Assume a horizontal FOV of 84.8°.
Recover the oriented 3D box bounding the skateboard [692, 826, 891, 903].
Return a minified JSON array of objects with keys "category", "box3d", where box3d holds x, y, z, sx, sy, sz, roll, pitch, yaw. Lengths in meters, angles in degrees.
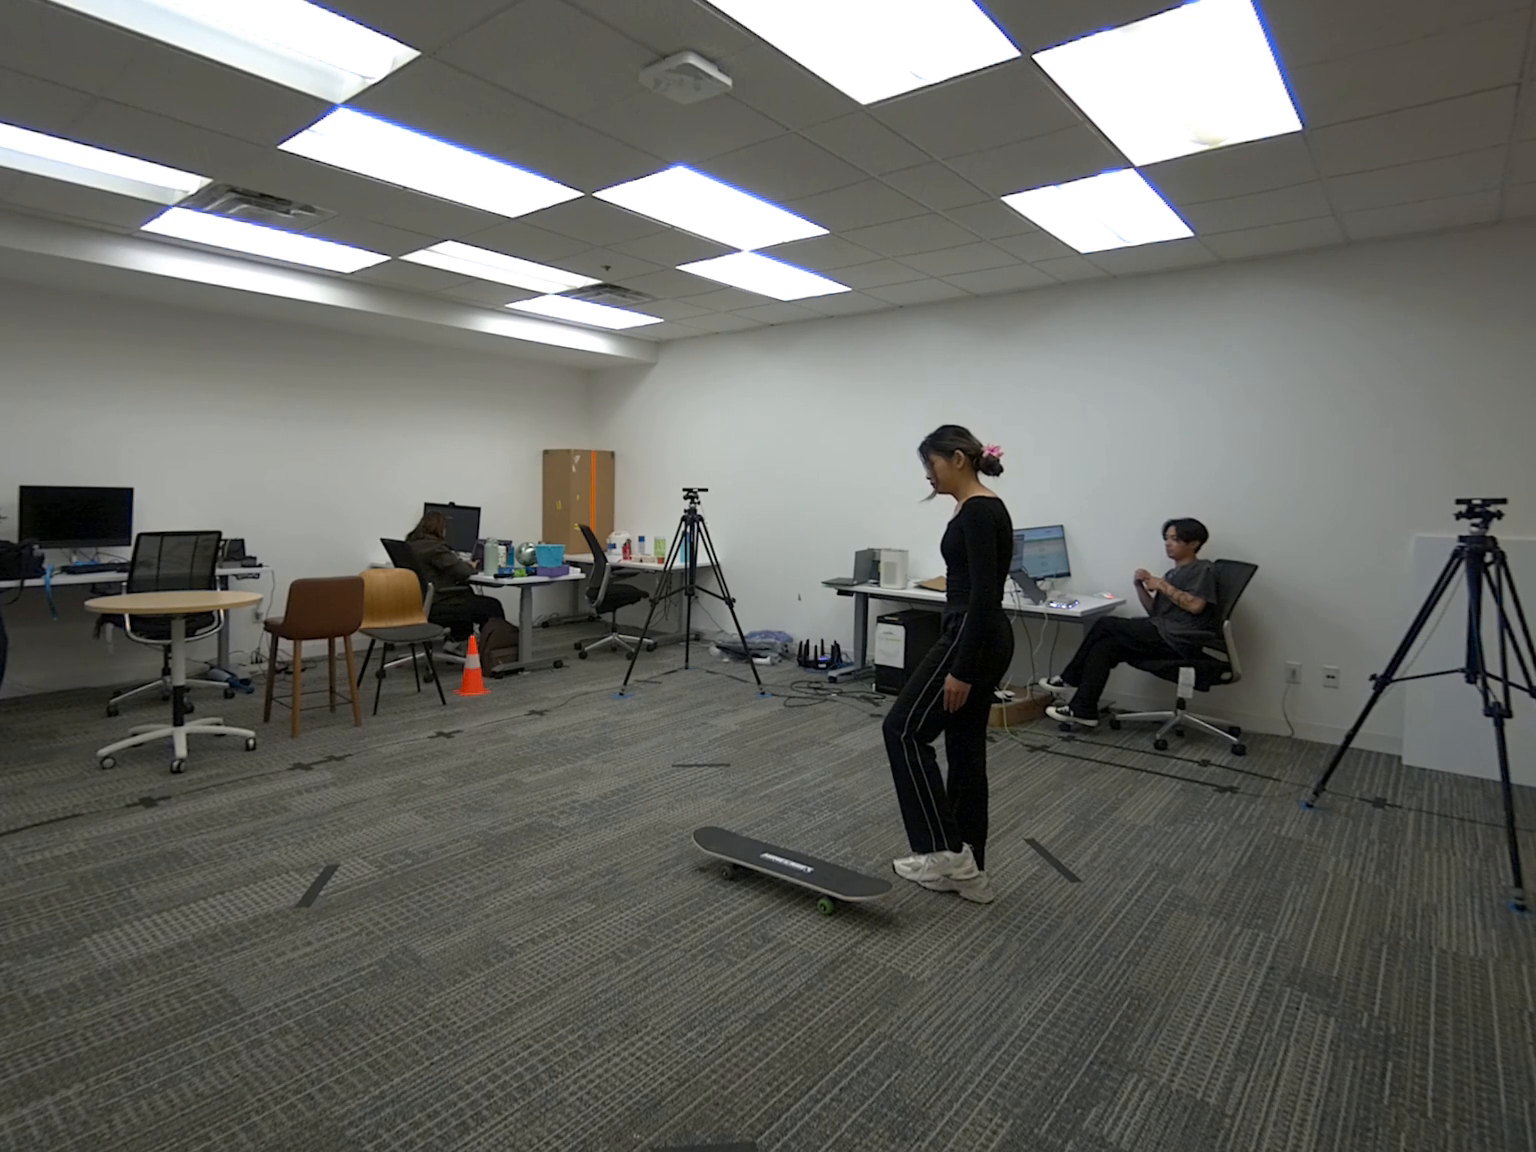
[{"category":"skateboard","box3d":[0.058,1.031,2.976,0.811,0.110,0.188,6,7,35]}]
